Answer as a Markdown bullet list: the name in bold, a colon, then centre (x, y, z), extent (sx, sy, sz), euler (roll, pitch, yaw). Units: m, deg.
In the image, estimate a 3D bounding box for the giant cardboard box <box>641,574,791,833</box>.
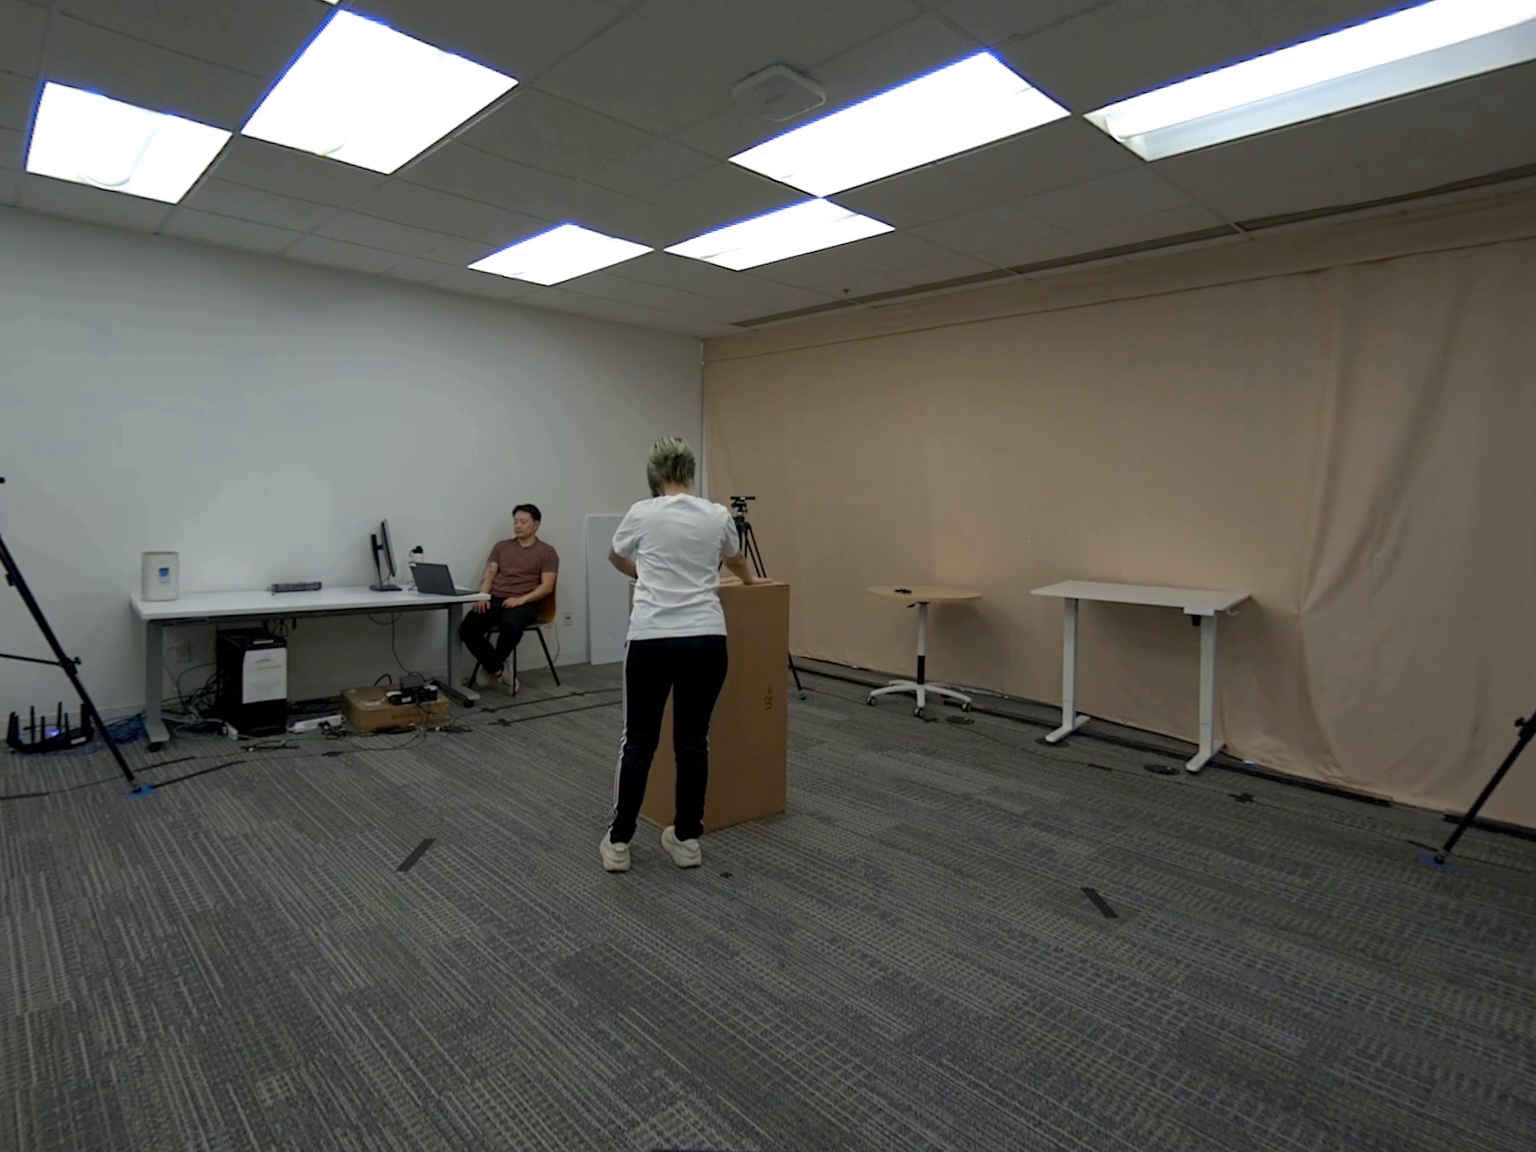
- **giant cardboard box**: centre (-0.270, 0.542, 3.737), extent (0.571, 1.024, 0.458), euler (-1, 5, -40)
